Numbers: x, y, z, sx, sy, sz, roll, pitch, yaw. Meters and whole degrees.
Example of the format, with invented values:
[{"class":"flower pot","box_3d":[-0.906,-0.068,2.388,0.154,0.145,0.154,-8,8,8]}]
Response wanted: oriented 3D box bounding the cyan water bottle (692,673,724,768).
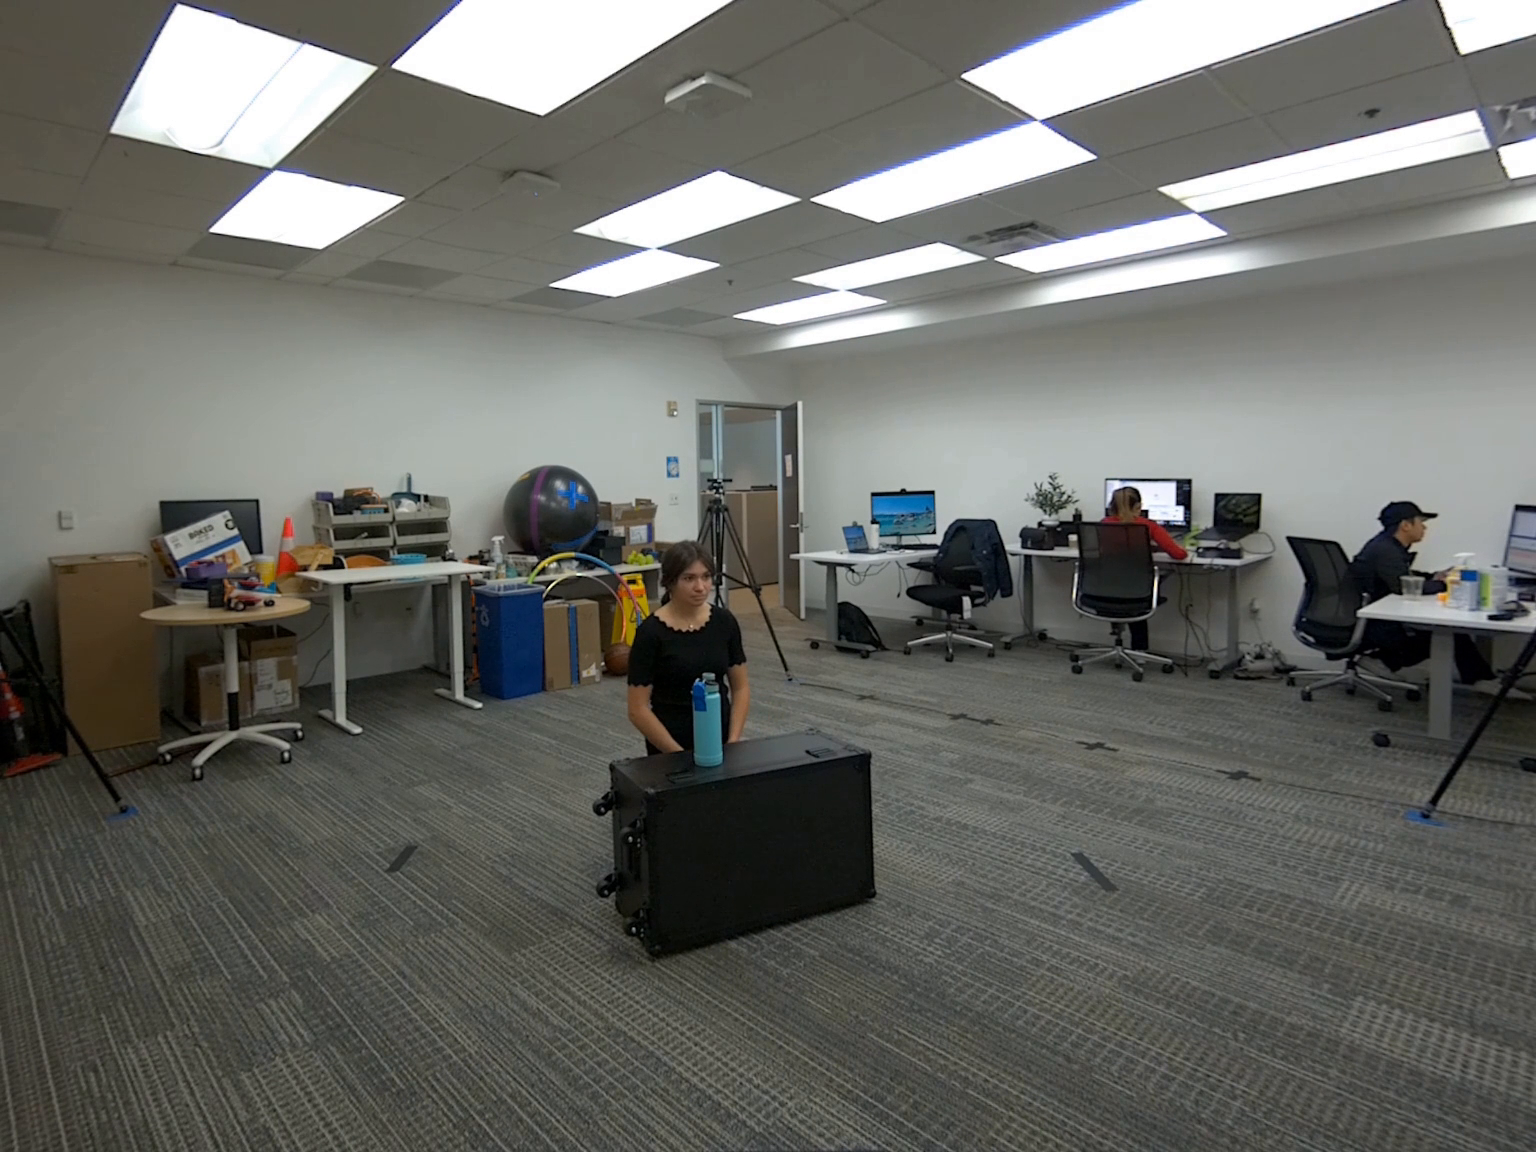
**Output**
[{"class":"cyan water bottle","box_3d":[-0.197,0.465,2.747,0.092,0.282,0.093,-1,3,-2]}]
